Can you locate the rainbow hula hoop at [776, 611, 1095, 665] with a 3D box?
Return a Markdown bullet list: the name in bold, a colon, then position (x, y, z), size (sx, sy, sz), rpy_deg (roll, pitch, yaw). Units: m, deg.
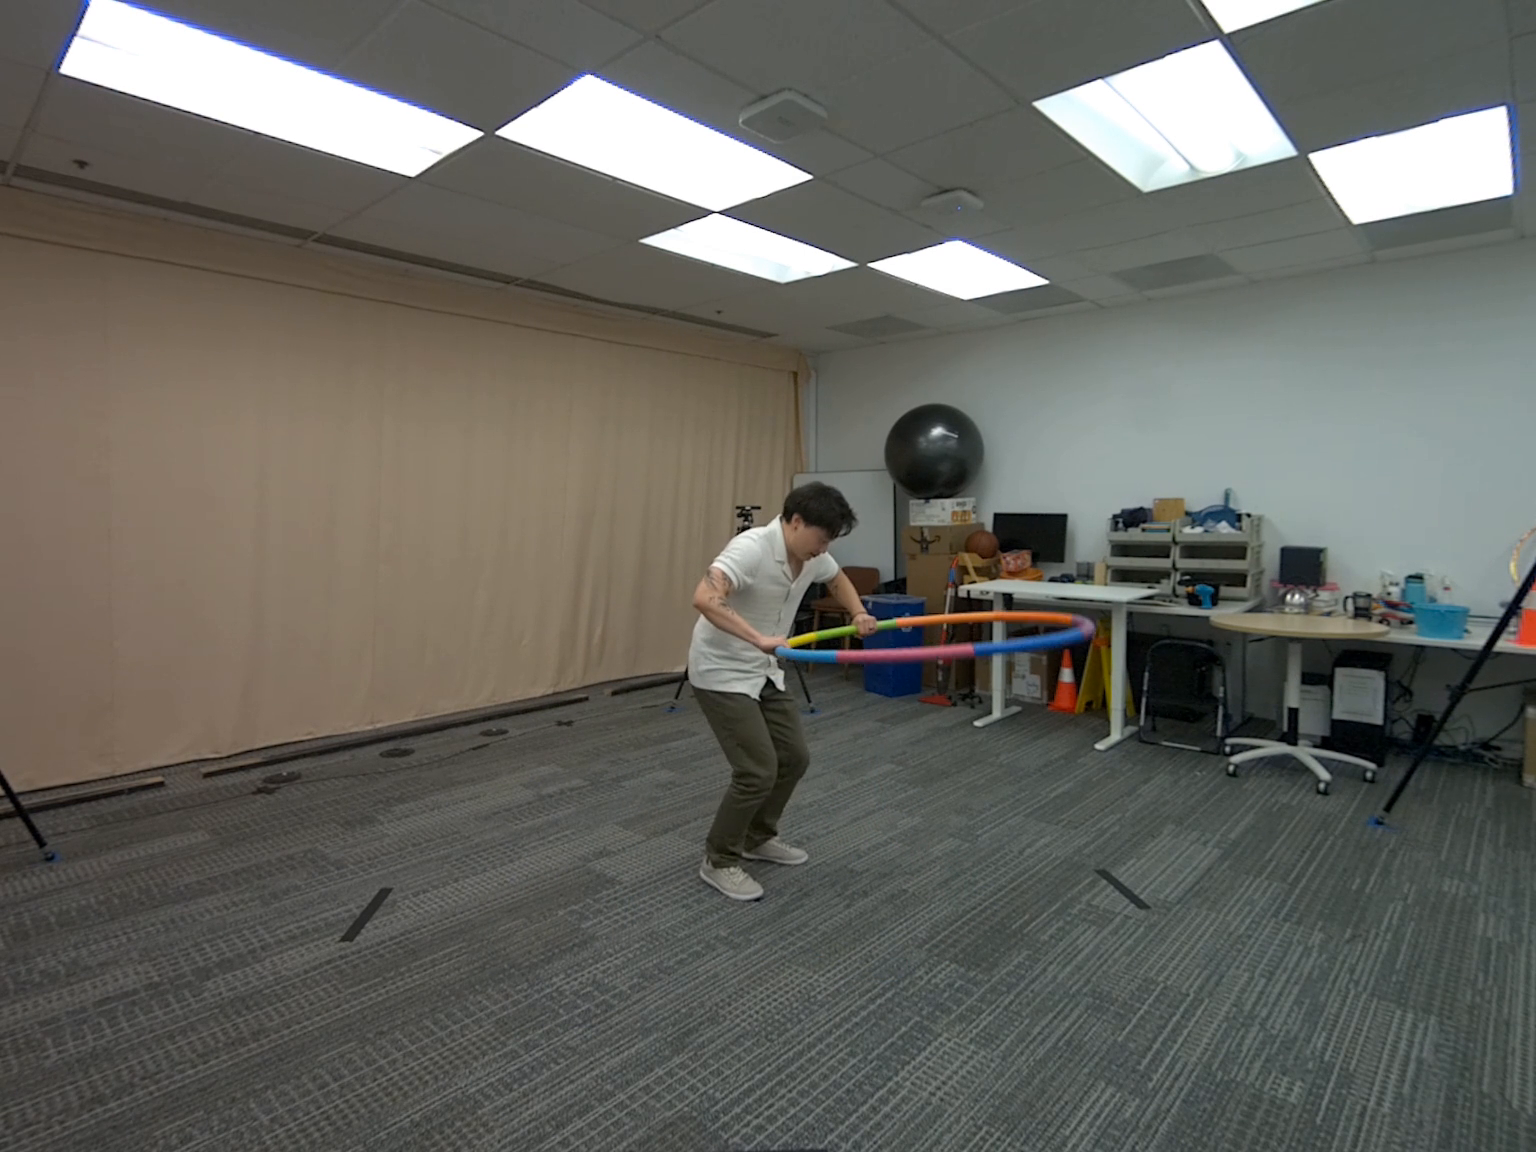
- **rainbow hula hoop**: position (0.490, 0.196, 2.716), size (0.978, 0.035, 0.980), rpy_deg (-6, 1, -2)
